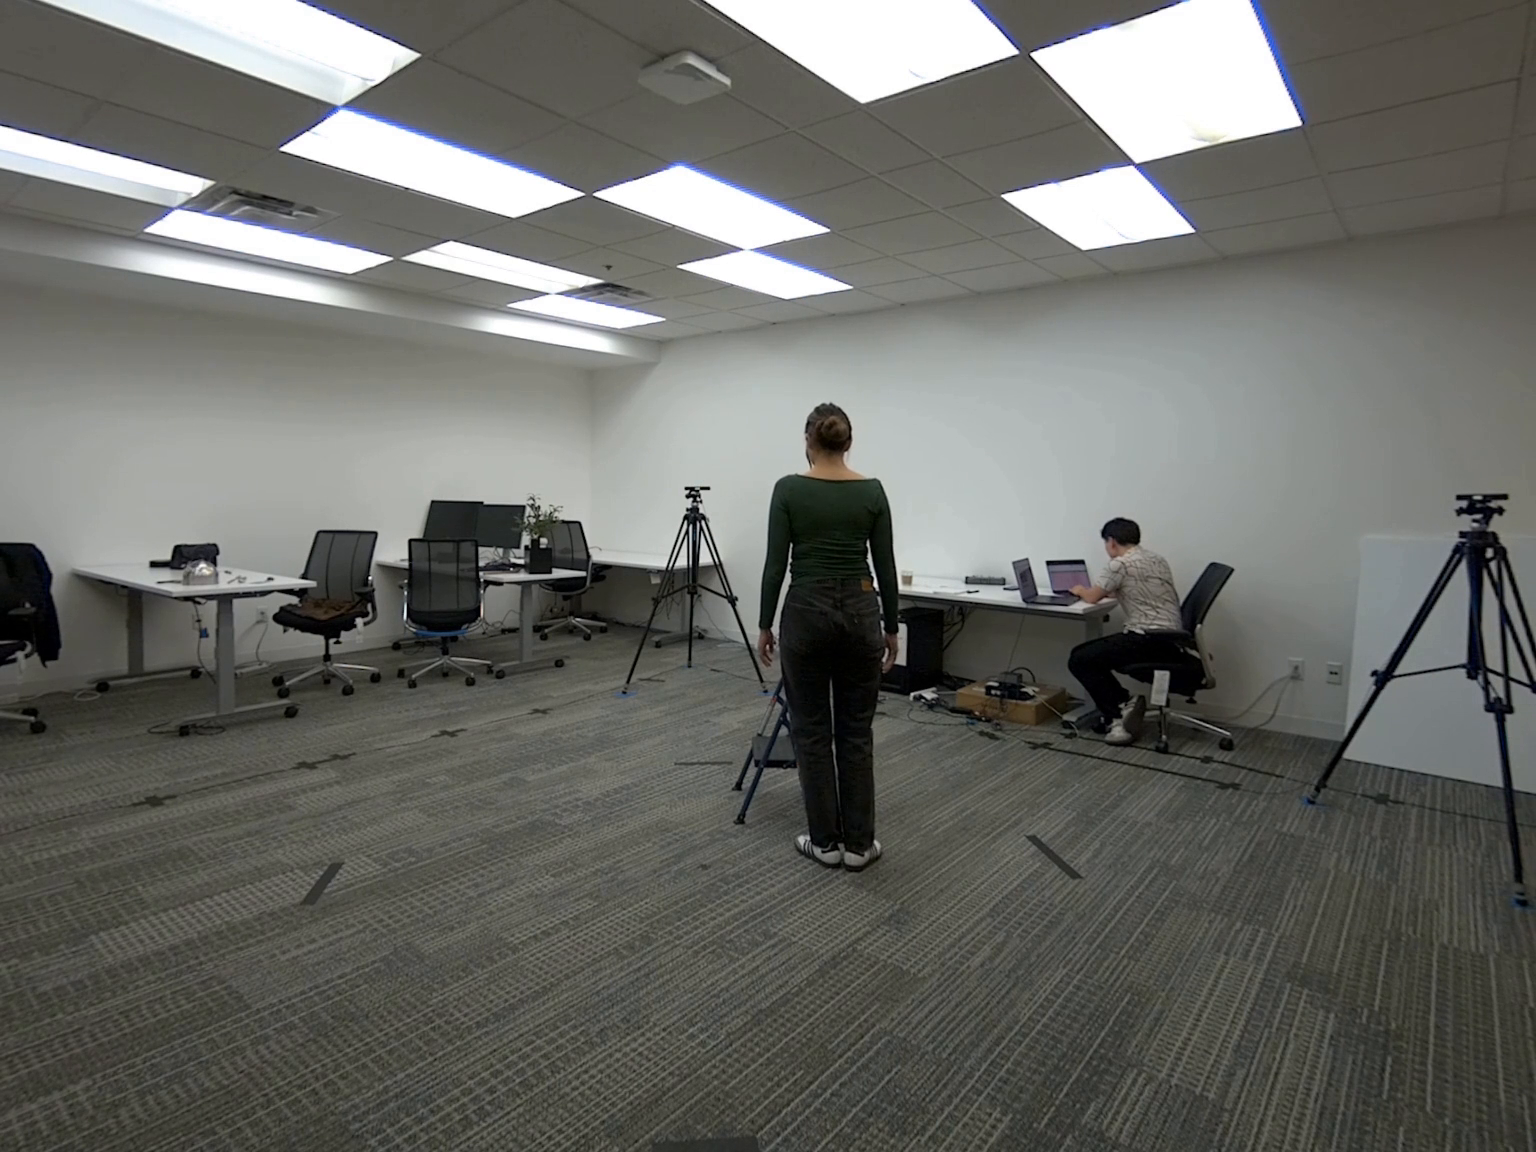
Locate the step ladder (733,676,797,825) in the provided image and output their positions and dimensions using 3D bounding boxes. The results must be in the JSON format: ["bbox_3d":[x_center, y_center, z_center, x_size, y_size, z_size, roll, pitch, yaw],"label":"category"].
[{"bbox_3d":[0.019,0.707,3.719,0.349,0.604,0.433,0,4,-3],"label":"step ladder"}]
